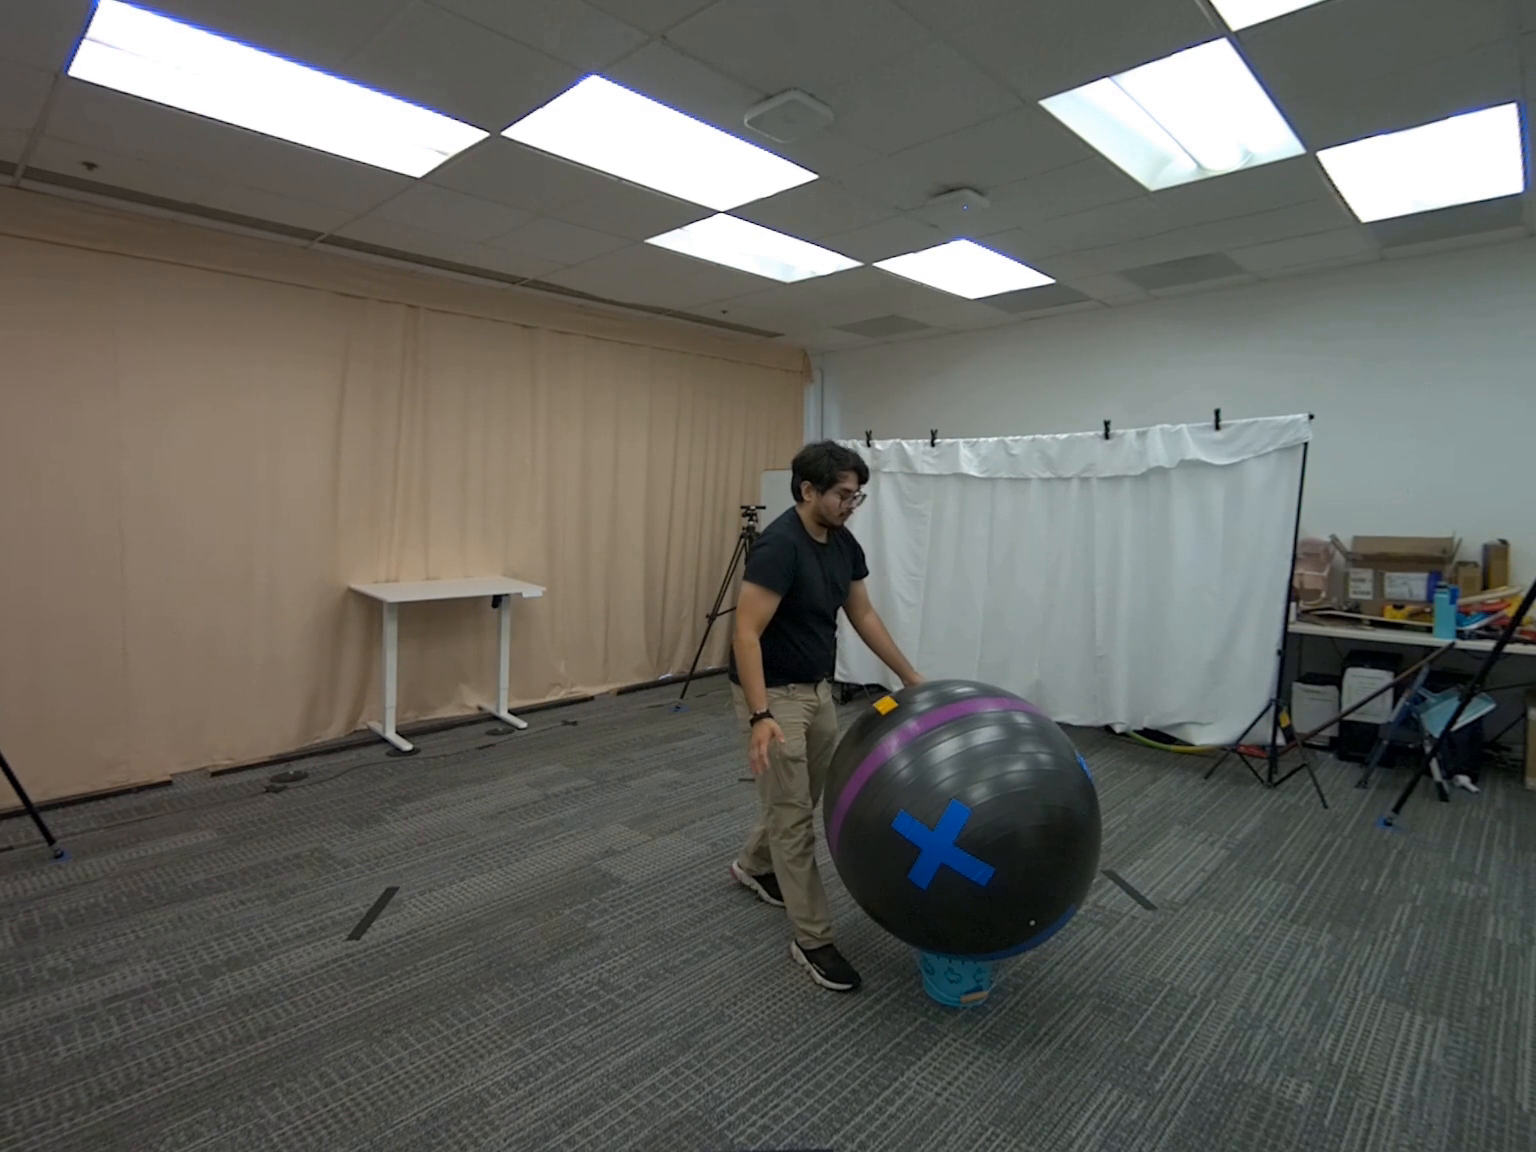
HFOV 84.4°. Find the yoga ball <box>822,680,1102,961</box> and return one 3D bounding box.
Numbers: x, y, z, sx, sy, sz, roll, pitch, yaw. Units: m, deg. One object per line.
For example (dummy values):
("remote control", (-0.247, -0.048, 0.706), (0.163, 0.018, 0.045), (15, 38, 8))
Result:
("yoga ball", (0.548, 0.685, 2.396), (0.757, 0.756, 0.760), (0, 4, -2))
